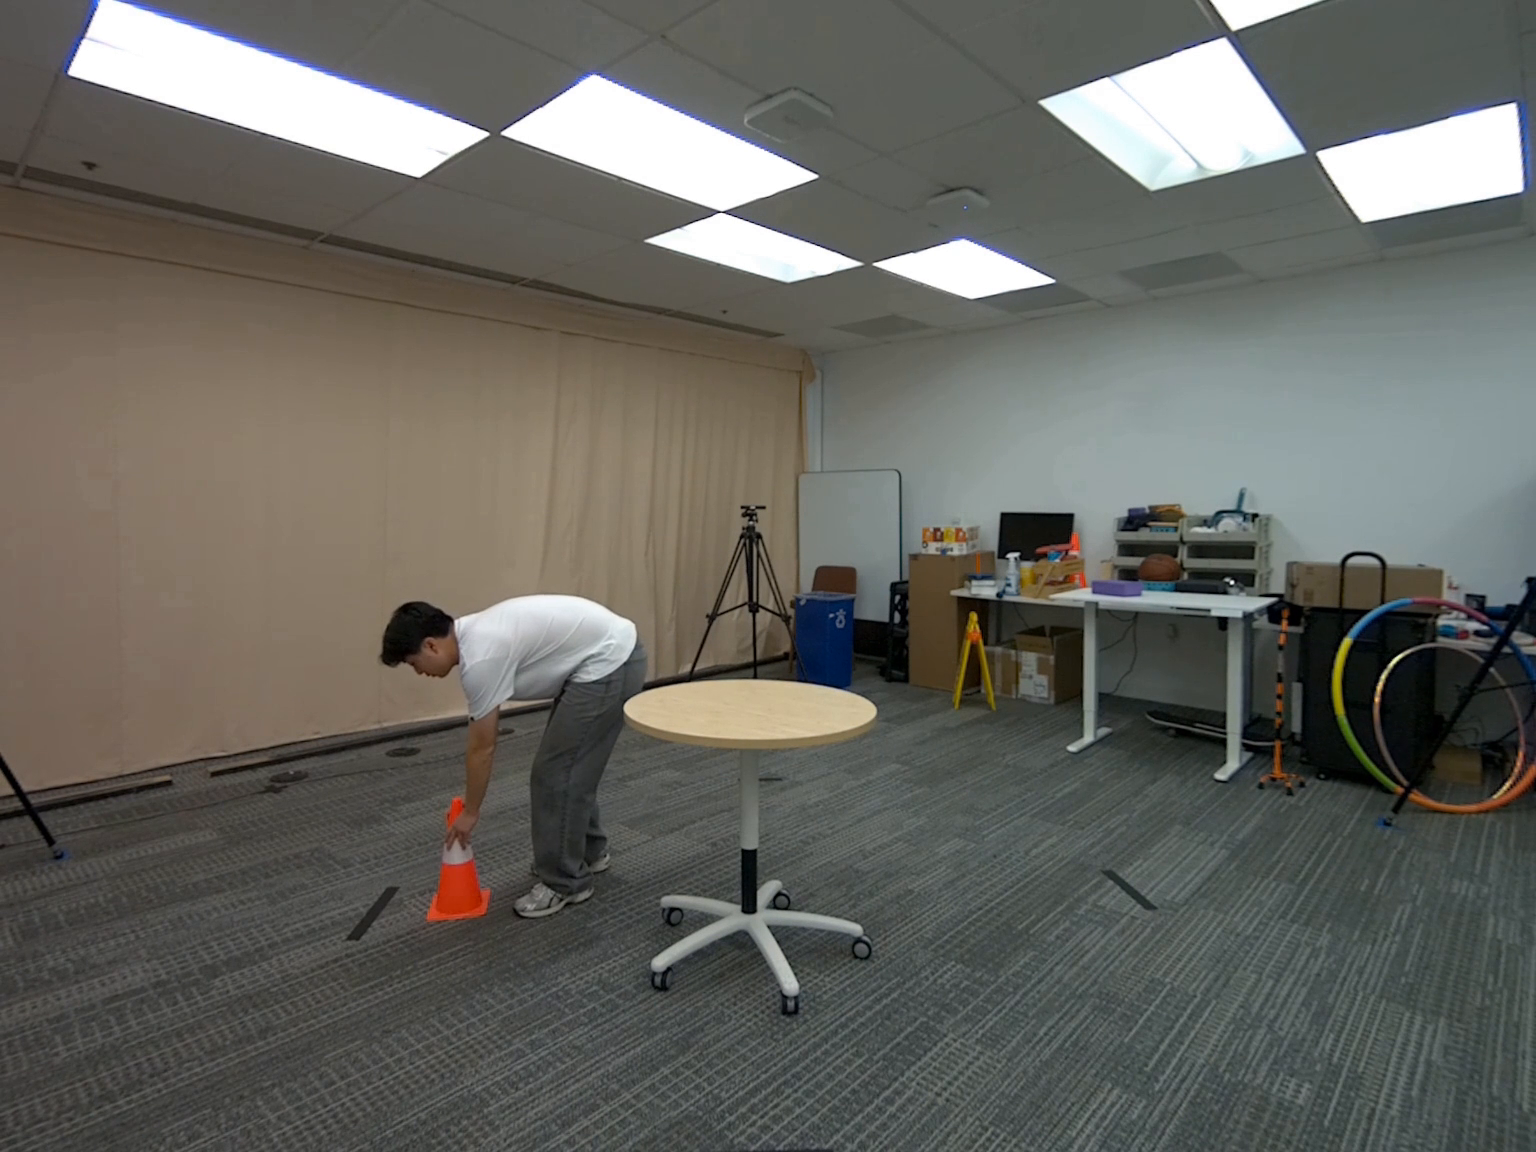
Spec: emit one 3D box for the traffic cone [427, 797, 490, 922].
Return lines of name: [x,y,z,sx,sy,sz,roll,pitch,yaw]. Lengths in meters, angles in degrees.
traffic cone: [-1.097,0.980,2.955,0.201,0.384,0.207,-3,0,-18]
